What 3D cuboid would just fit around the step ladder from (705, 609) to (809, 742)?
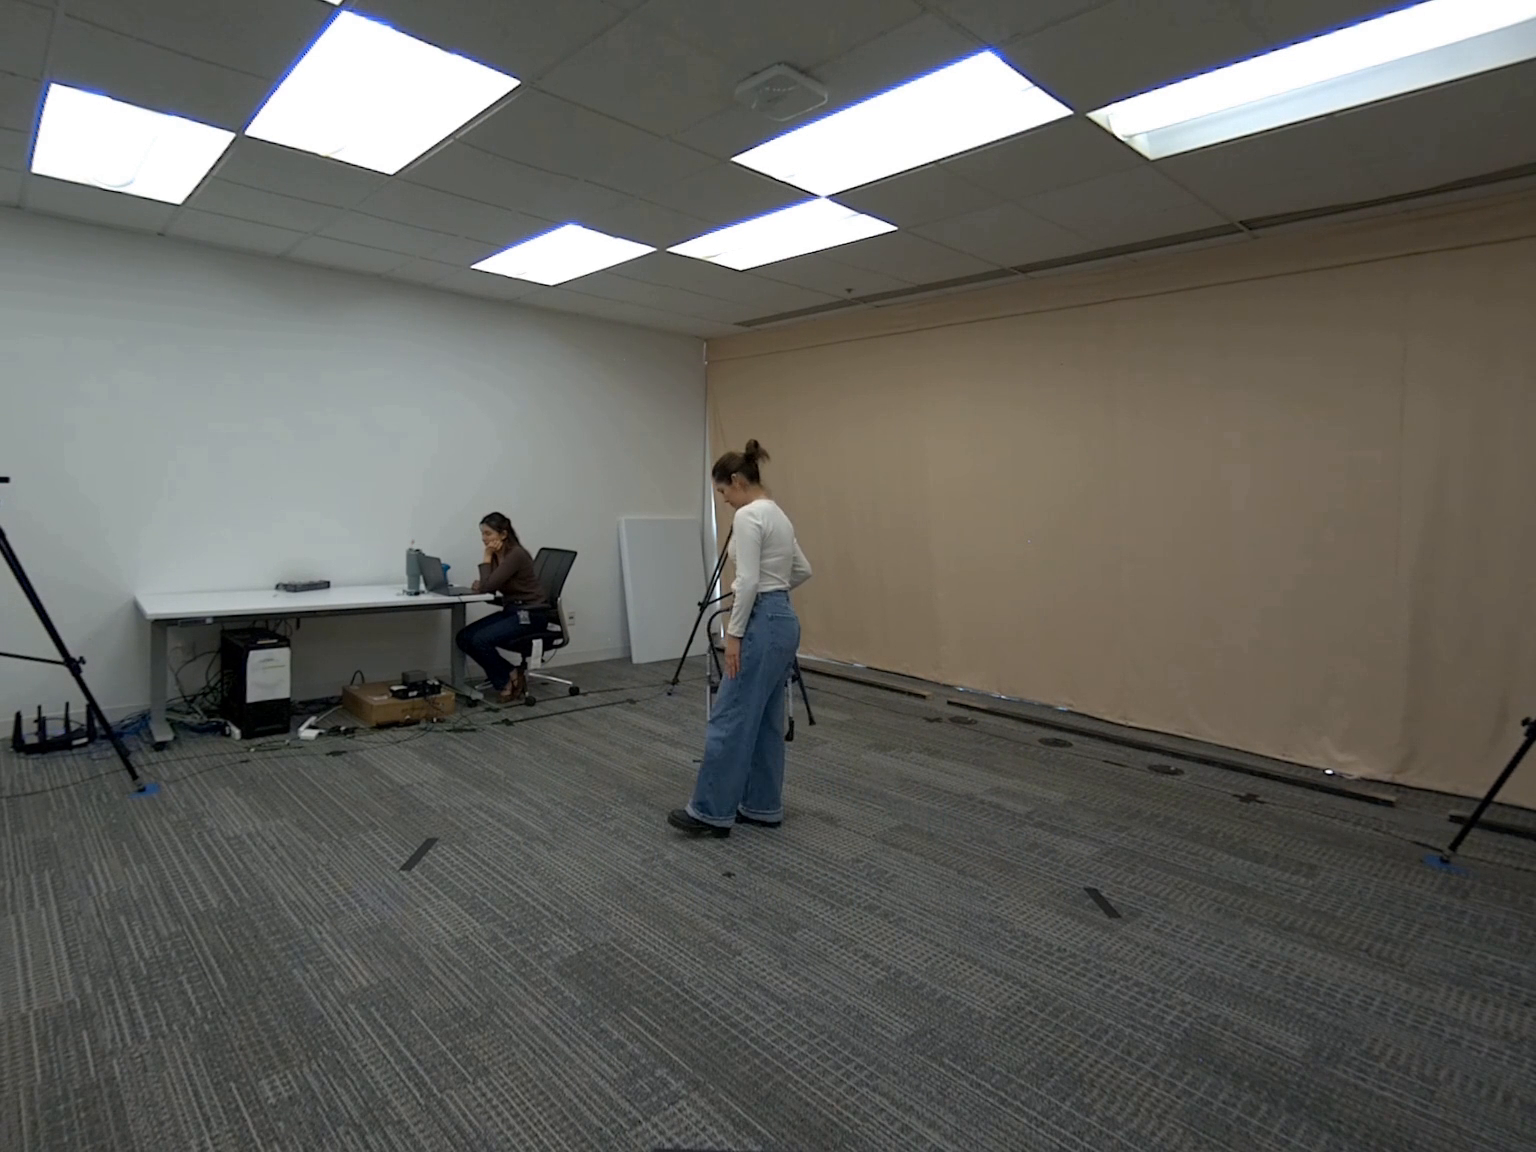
[{"bbox_3d":[-0.078,0.443,3.906,0.436,0.606,0.344,-8,0,20],"label":"step ladder"}]
